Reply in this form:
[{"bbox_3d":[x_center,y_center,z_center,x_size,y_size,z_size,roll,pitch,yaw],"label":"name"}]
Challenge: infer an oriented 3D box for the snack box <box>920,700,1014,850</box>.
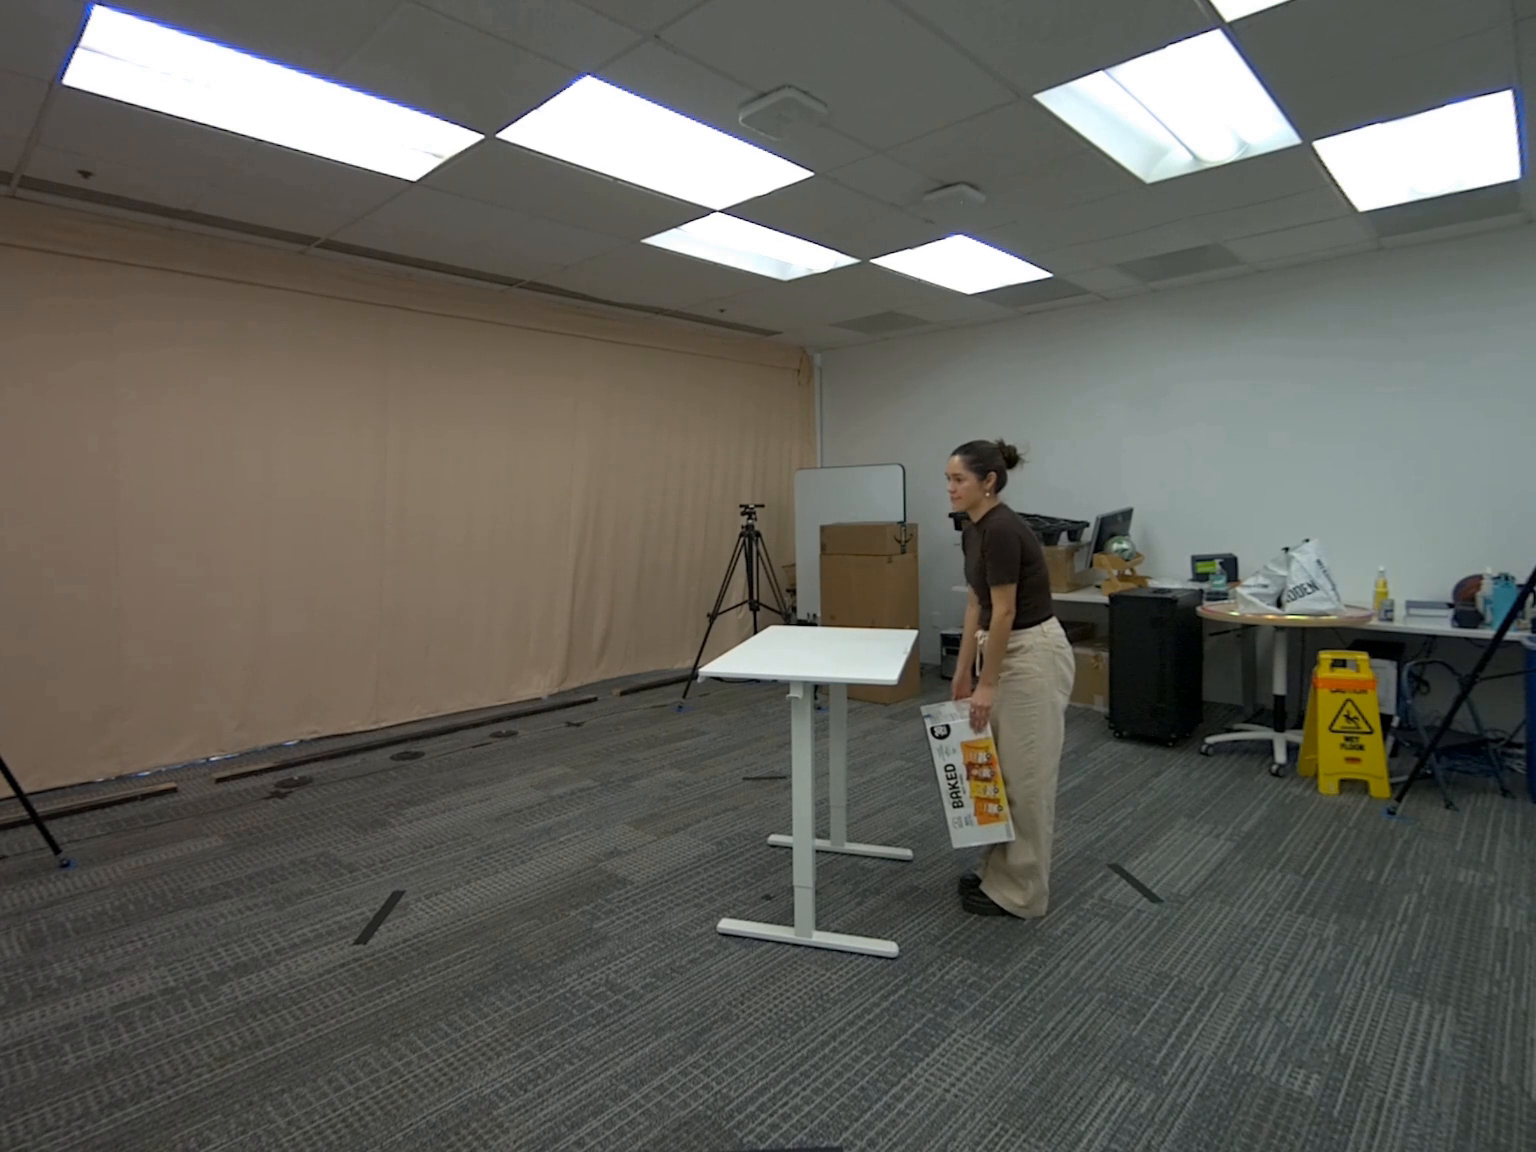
[{"bbox_3d":[0.681,0.673,2.909,0.207,0.405,0.337,-12,-1,7],"label":"snack box"}]
